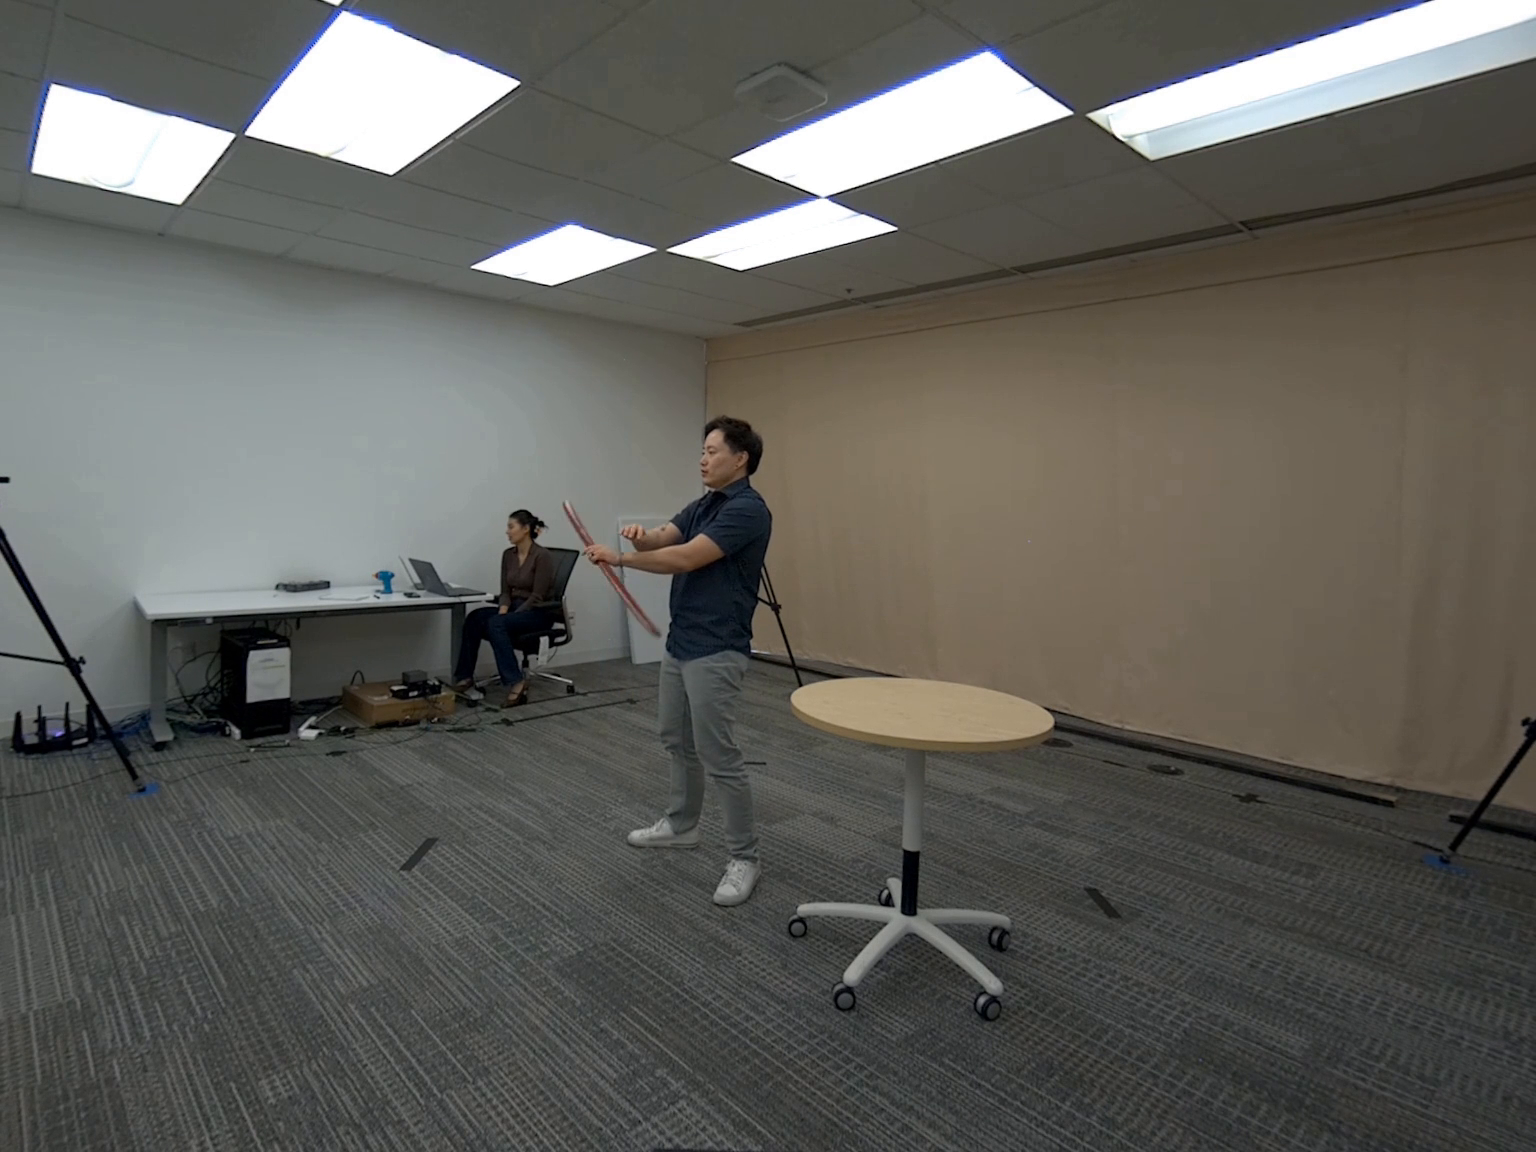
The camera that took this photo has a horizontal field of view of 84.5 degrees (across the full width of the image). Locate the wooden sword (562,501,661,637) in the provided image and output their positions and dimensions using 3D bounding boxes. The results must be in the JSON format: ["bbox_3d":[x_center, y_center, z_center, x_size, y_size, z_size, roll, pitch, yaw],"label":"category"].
[{"bbox_3d":[-0.576,-0.045,2.896,0.050,0.024,1.057,-9,31,-25],"label":"wooden sword"}]
